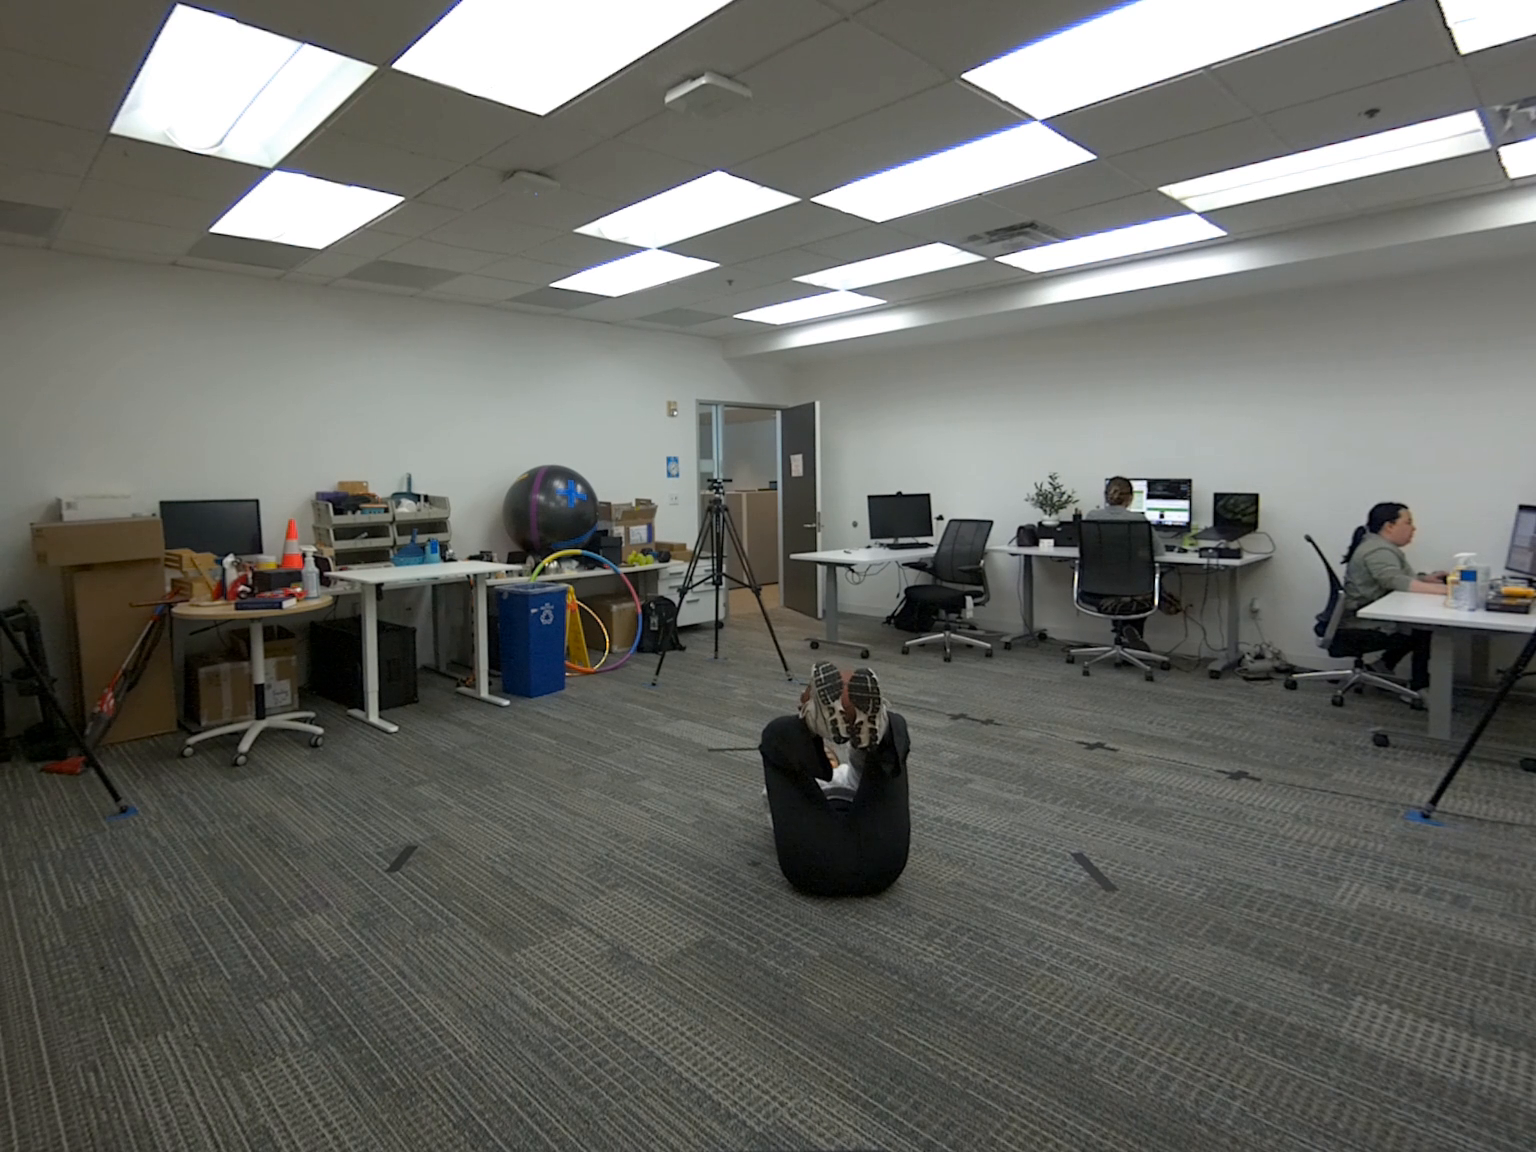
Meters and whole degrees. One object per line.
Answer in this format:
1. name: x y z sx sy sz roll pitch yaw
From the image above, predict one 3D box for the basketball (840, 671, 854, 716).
1. basketball: 0.252 0.429 2.913 0.236 0.235 0.237 -1 5 -2
